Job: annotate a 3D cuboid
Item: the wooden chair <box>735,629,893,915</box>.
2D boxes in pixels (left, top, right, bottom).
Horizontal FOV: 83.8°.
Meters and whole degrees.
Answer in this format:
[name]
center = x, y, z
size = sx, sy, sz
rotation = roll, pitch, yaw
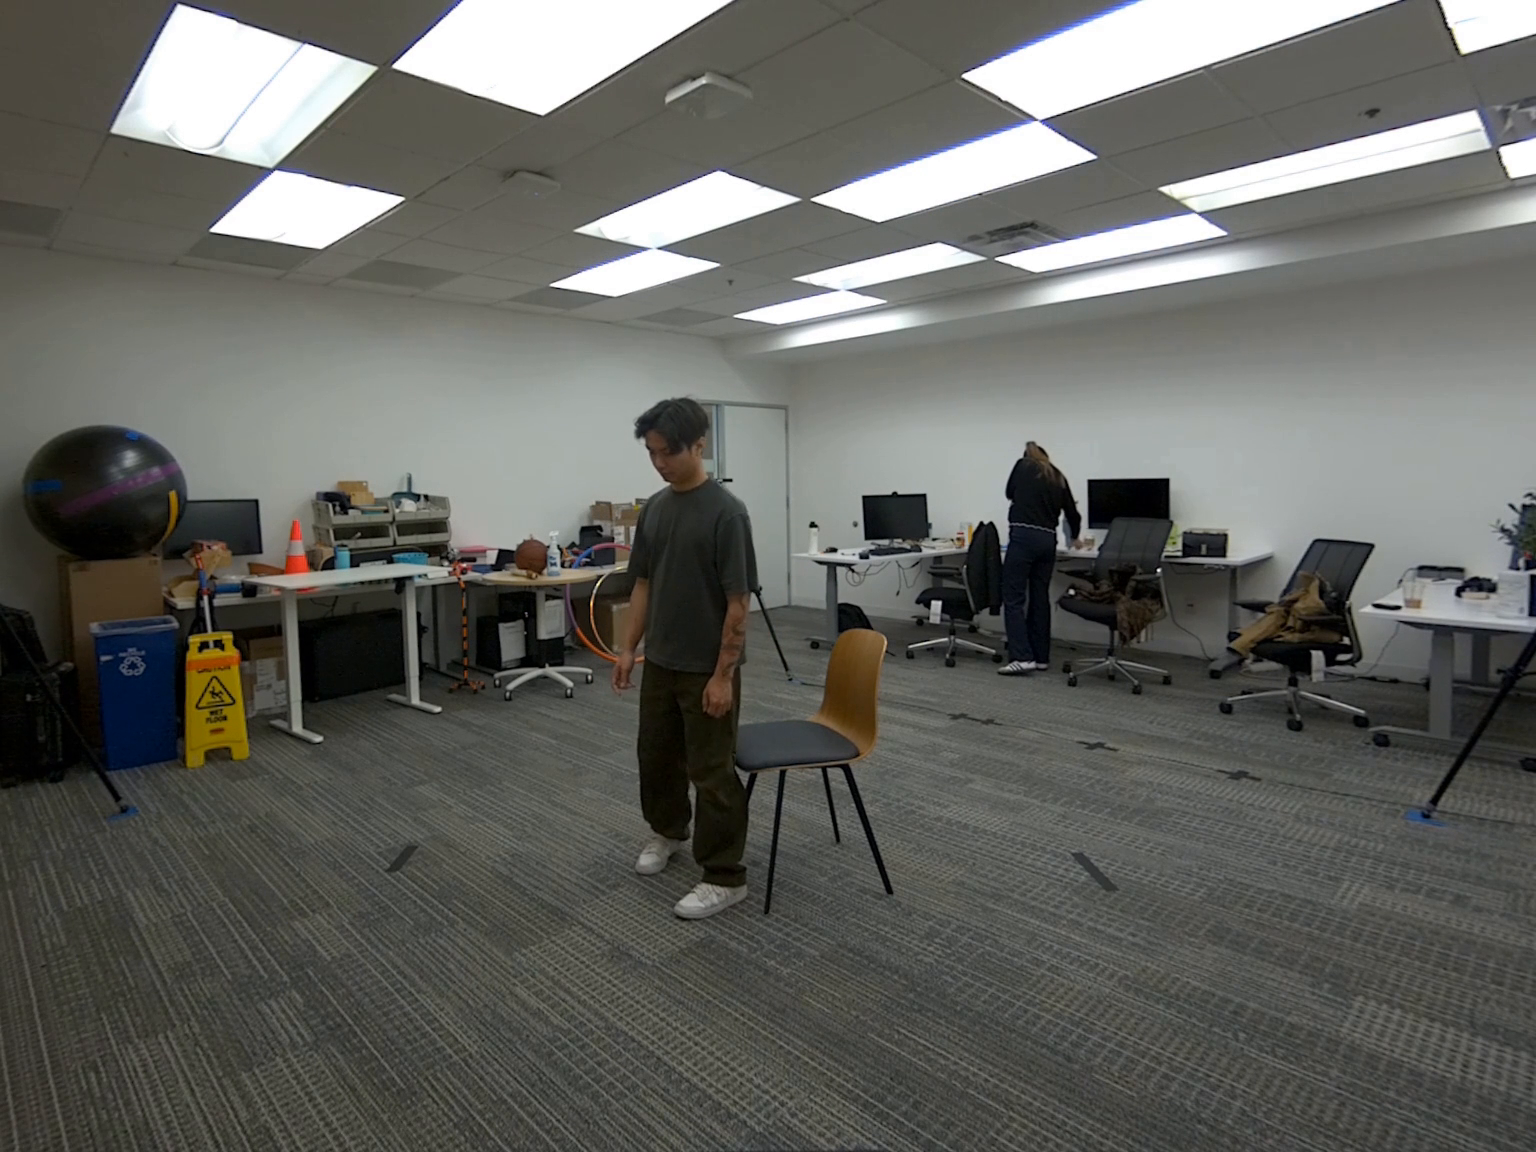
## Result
[wooden chair]
center = 0.123, 0.625, 2.980
size = 0.515, 0.875, 0.487
rotation = 2, 3, -17
